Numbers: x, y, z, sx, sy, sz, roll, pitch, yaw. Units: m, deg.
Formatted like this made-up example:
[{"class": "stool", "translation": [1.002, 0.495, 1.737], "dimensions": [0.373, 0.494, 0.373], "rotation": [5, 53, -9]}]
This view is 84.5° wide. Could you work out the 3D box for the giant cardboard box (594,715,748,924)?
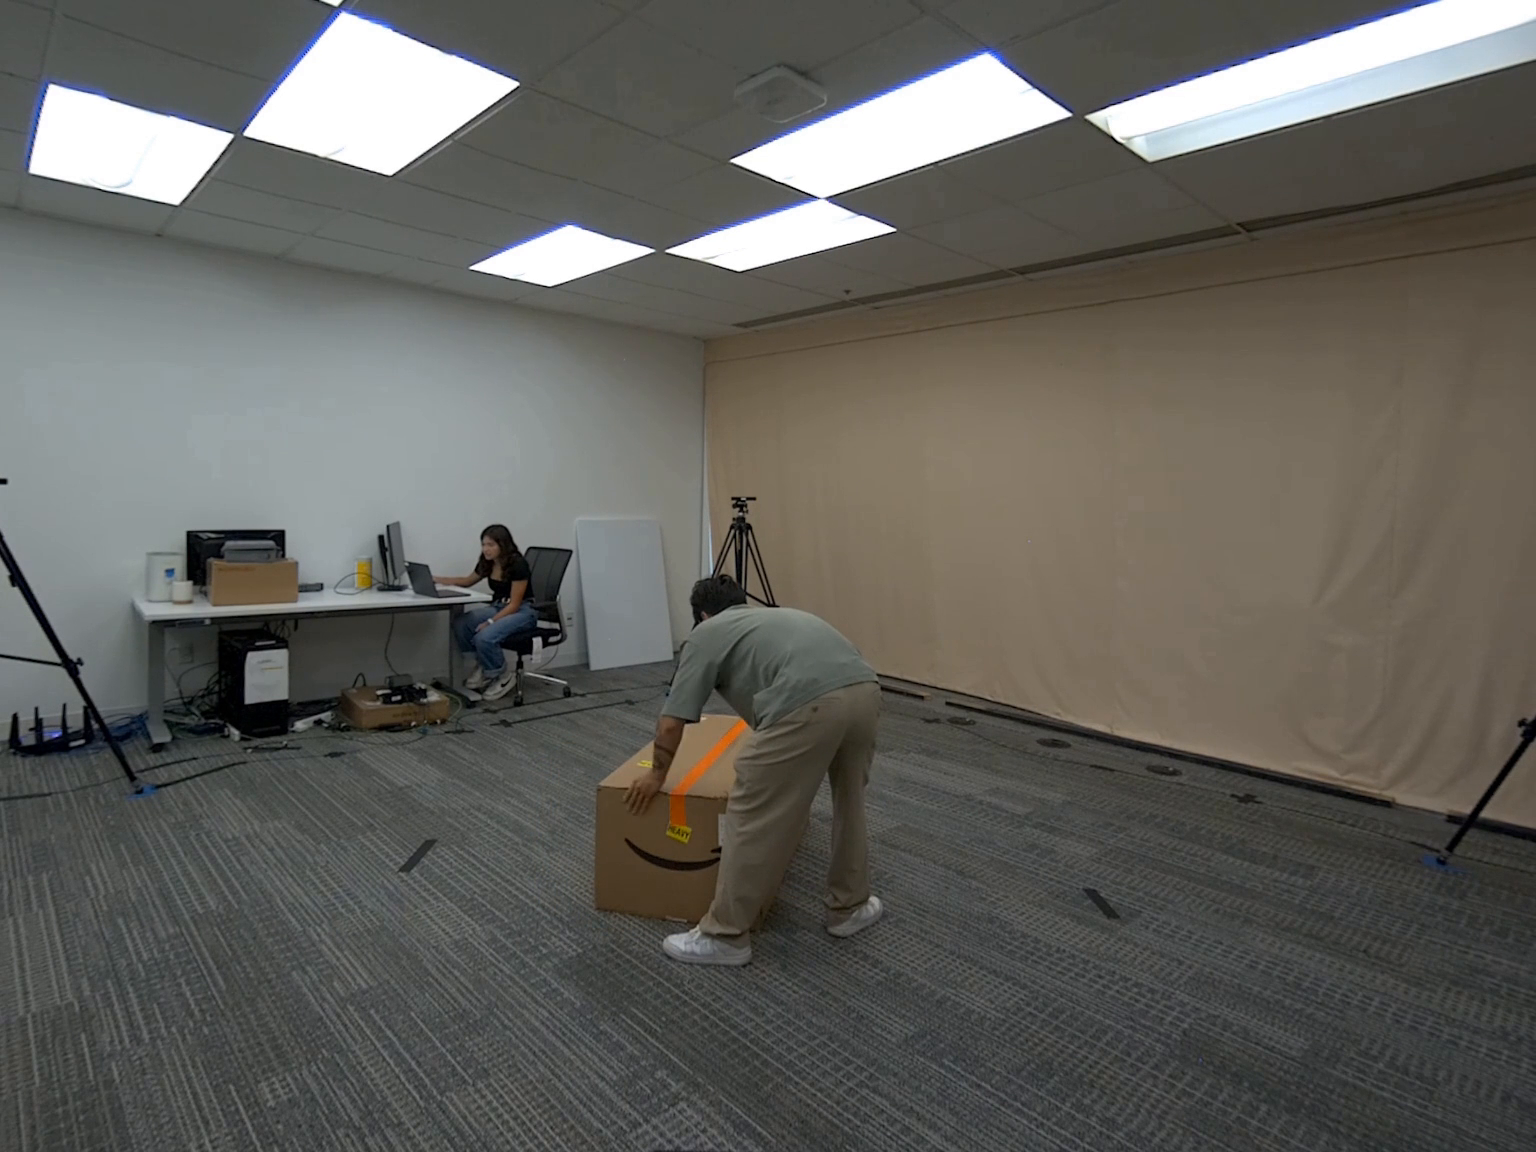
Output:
[{"class": "giant cardboard box", "translation": [-0.204, 0.878, 3.249], "dimensions": [0.584, 0.425, 1.018], "rotation": [3, 6, 12]}]
